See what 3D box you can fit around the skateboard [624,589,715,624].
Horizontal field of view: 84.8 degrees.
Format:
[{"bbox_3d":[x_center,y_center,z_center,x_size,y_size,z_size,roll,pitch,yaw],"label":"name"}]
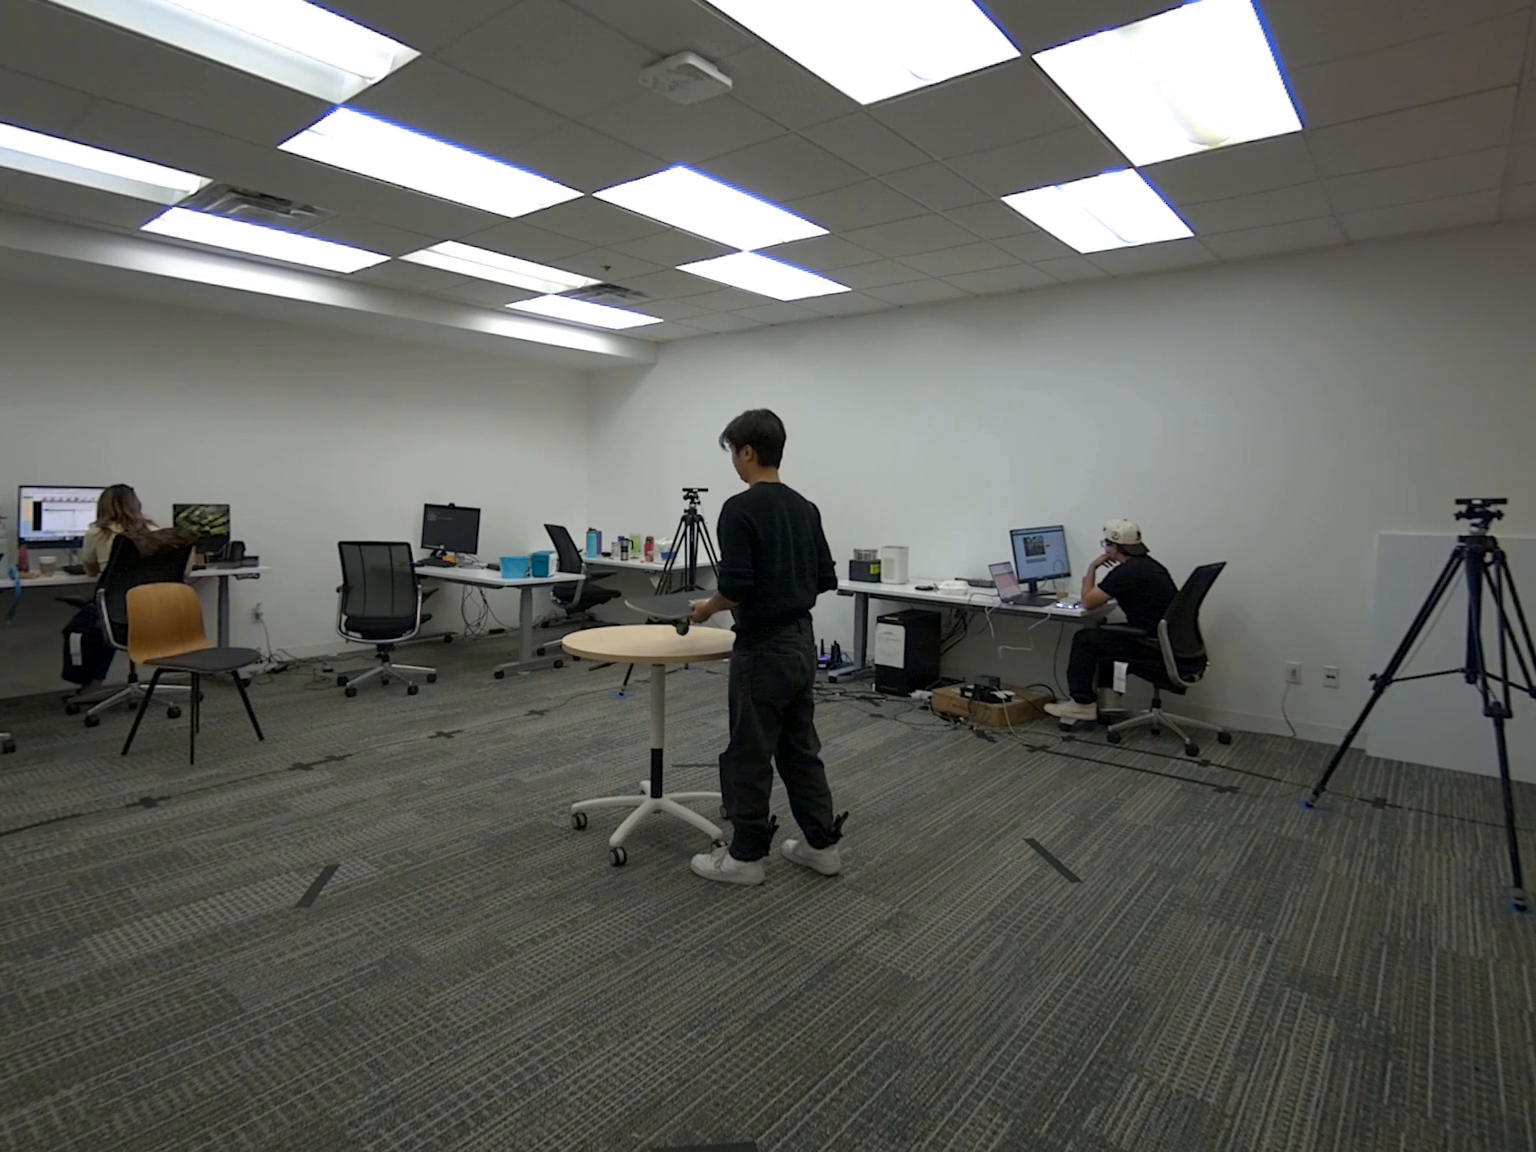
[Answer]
[{"bbox_3d":[-0.231,0.127,3.259,0.762,0.109,0.201,-6,23,-45],"label":"skateboard"}]
